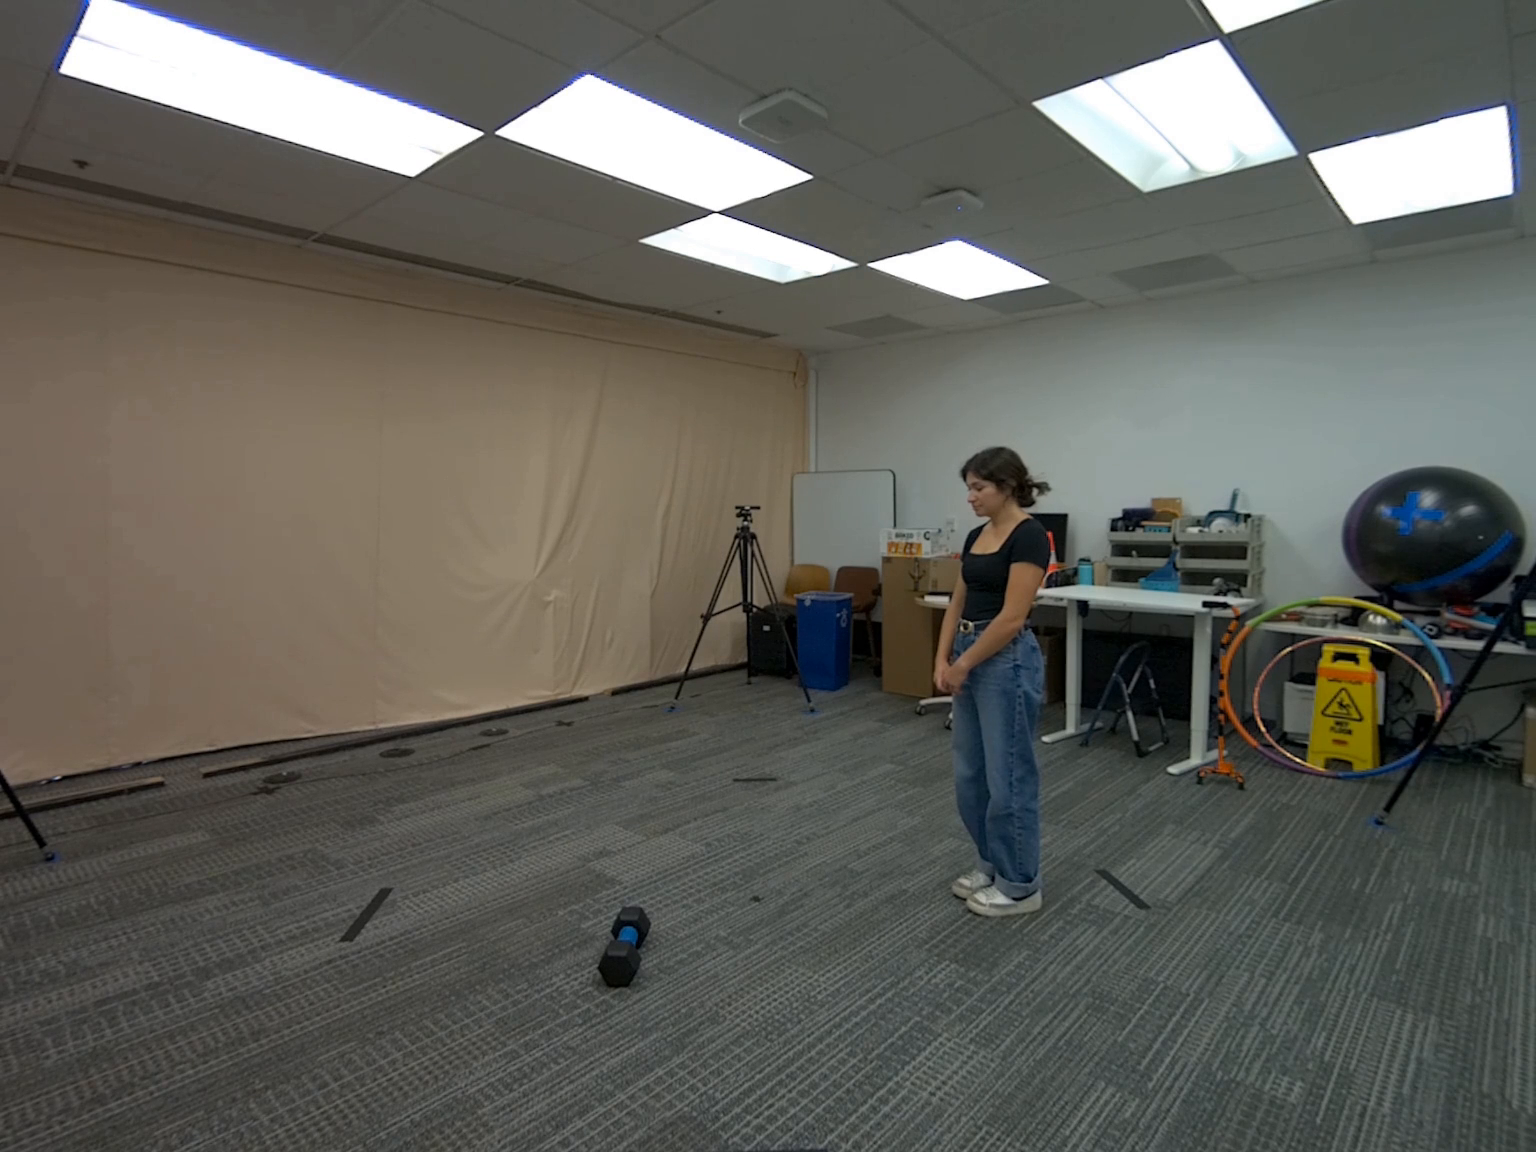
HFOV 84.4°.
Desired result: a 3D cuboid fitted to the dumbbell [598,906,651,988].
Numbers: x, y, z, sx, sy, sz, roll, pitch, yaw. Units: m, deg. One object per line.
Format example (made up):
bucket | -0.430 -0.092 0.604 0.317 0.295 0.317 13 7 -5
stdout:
dumbbell | -0.438 1.132 2.567 0.109 0.122 0.294 -29 4 0
